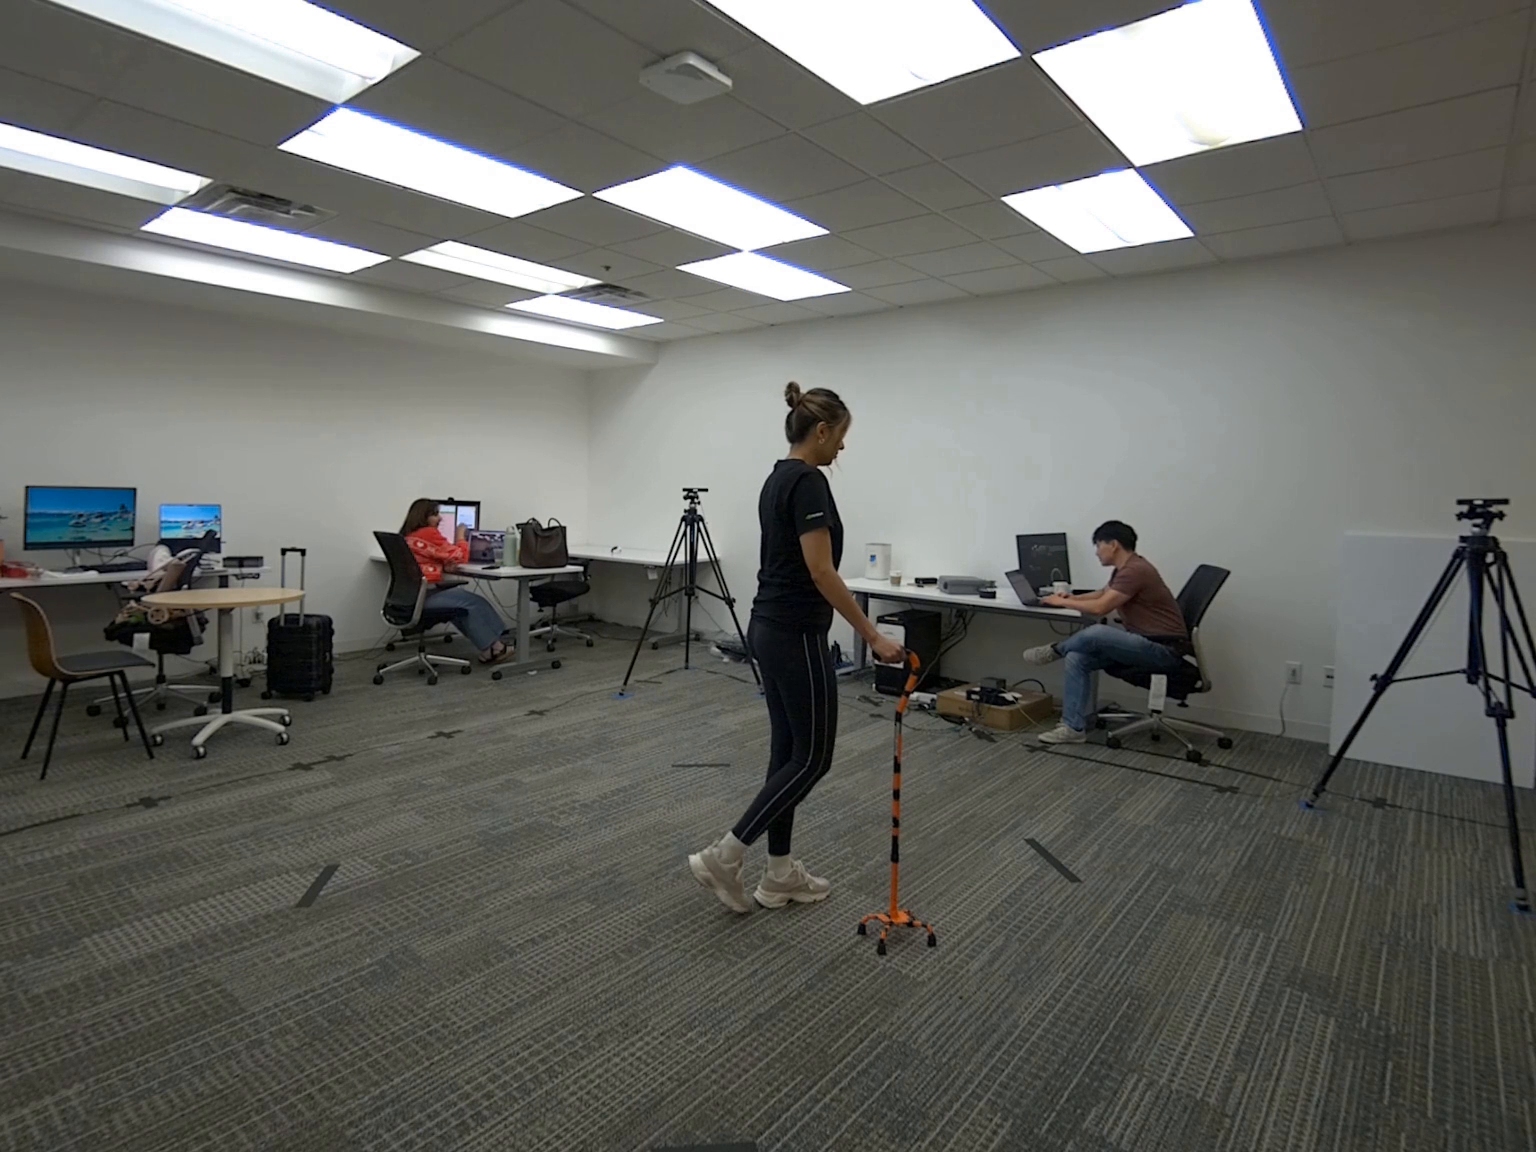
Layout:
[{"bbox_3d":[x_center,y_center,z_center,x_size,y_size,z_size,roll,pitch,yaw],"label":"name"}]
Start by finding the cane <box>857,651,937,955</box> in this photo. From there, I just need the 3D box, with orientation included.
[{"bbox_3d":[0.402,0.679,2.638,0.202,0.906,0.155,1,2,-21],"label":"cane"}]
